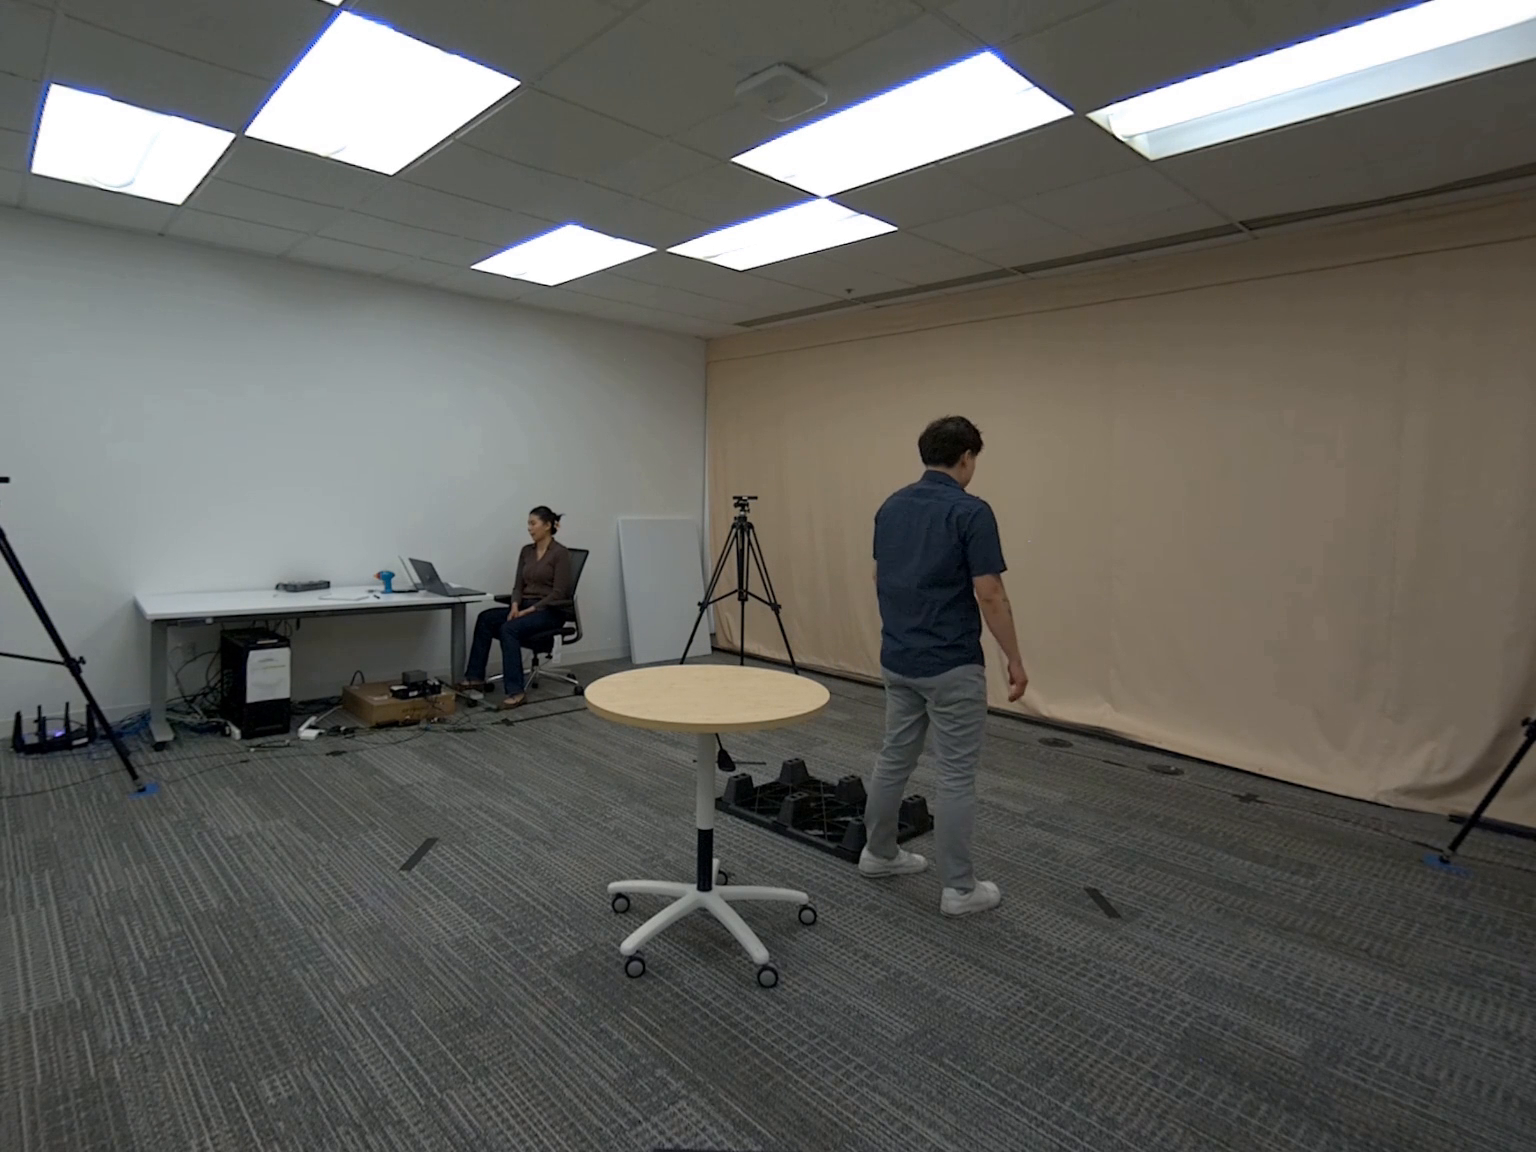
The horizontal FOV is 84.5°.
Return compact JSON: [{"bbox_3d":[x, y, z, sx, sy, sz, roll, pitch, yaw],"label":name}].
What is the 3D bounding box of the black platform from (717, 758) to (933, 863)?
[{"bbox_3d":[0.243,0.993,3.701,0.826,0.143,0.591,6,7,44],"label":"black platform"}]
